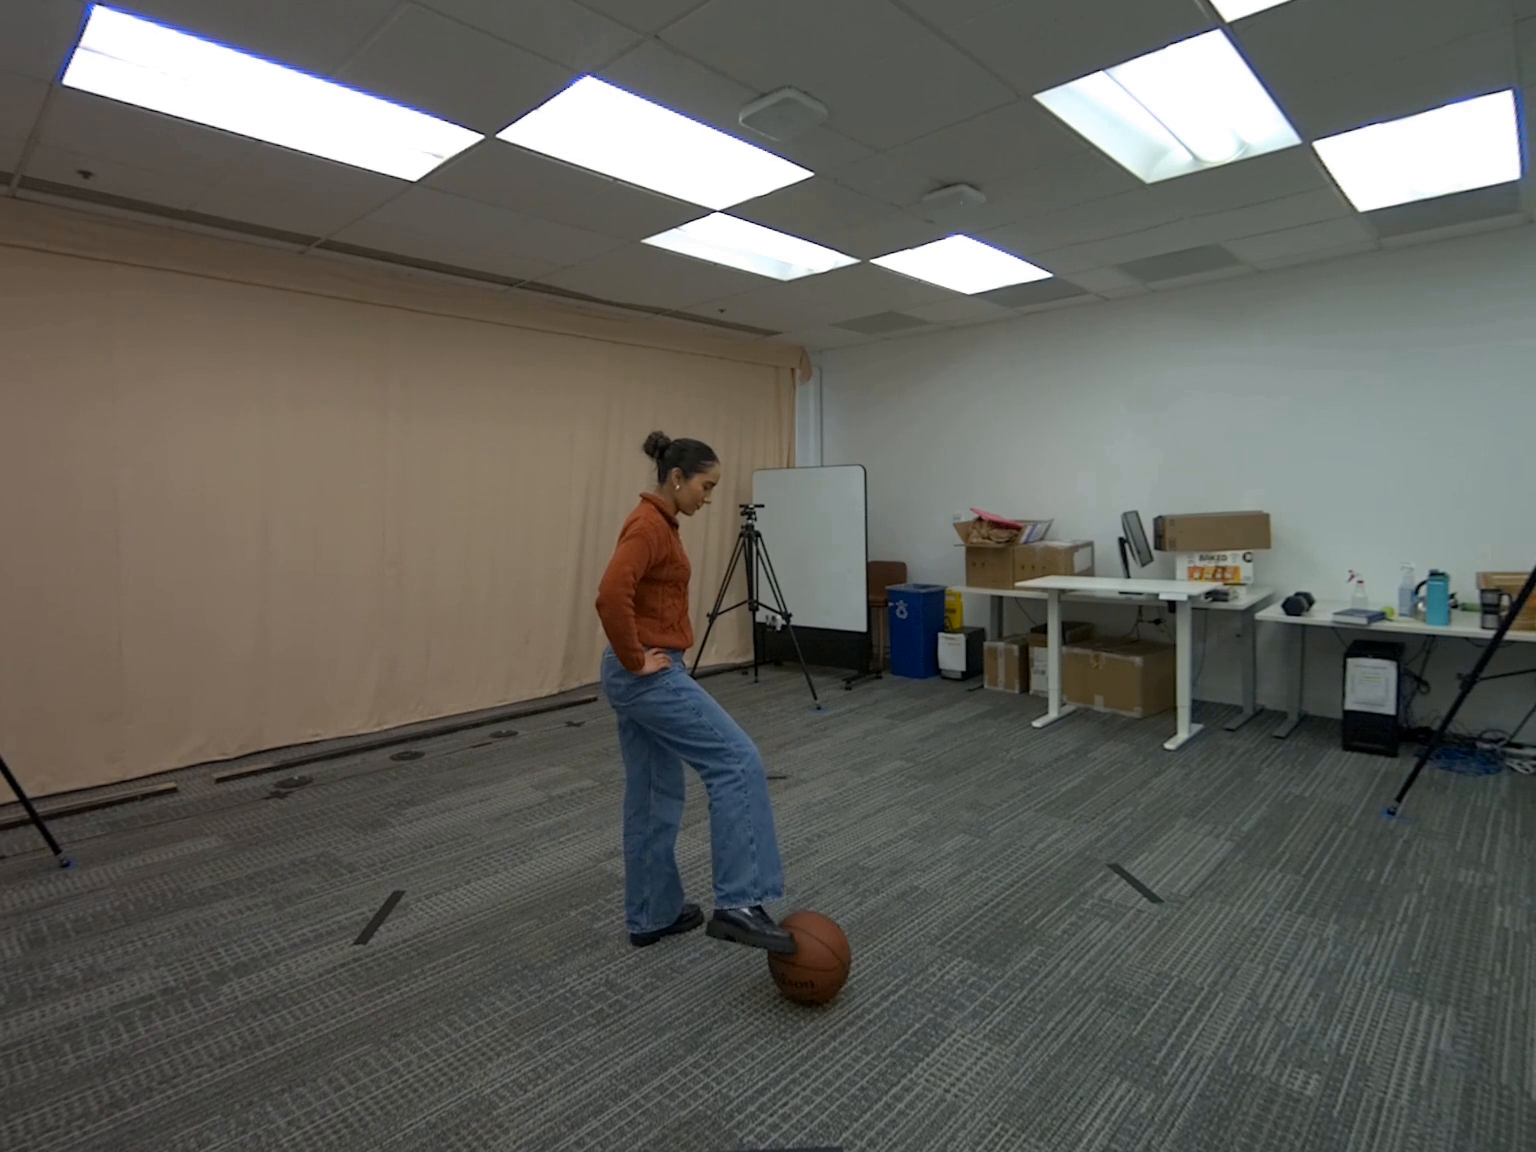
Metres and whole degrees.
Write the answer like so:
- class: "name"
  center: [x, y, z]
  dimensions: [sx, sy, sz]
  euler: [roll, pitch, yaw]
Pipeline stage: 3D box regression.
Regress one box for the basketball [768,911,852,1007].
- class: "basketball"
  center: [0.120, 1.068, 2.375]
  dimensions: [0.236, 0.235, 0.237]
  euler: [-1, 4, -2]
